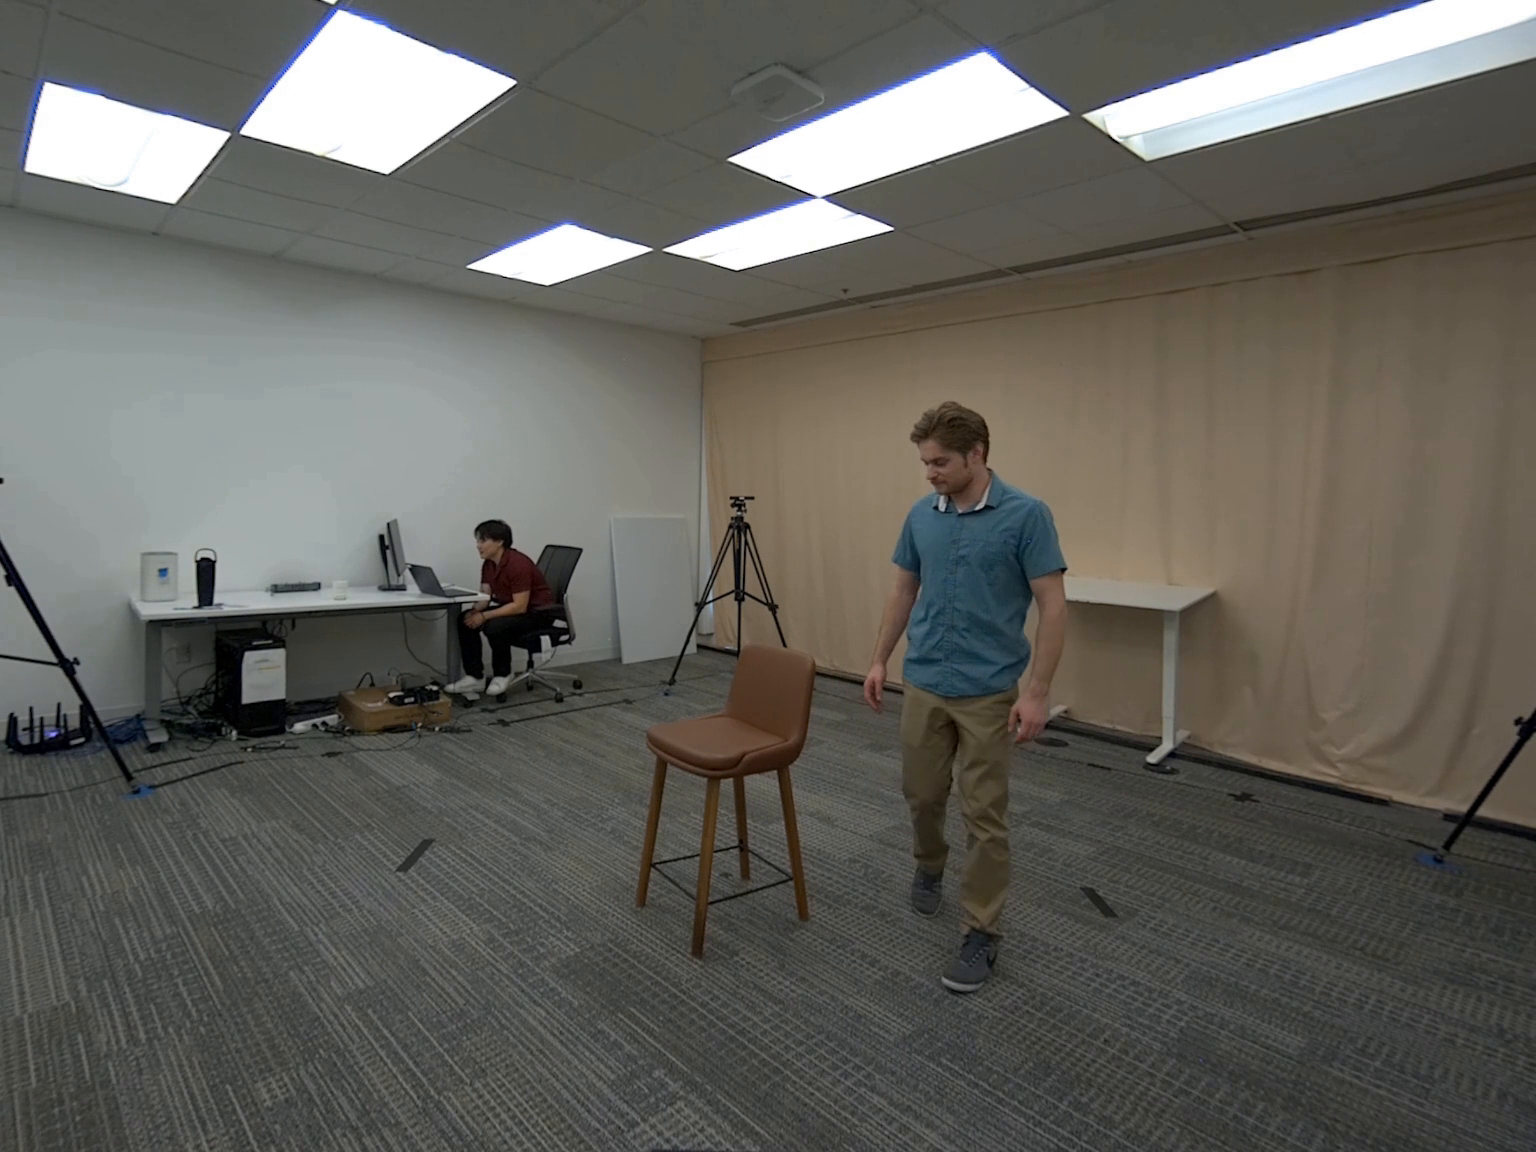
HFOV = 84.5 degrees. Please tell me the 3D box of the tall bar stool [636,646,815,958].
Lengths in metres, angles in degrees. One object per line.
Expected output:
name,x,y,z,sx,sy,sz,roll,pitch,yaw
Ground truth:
tall bar stool,-0.142,0.700,2.803,0.457,0.888,0.467,2,2,-35
